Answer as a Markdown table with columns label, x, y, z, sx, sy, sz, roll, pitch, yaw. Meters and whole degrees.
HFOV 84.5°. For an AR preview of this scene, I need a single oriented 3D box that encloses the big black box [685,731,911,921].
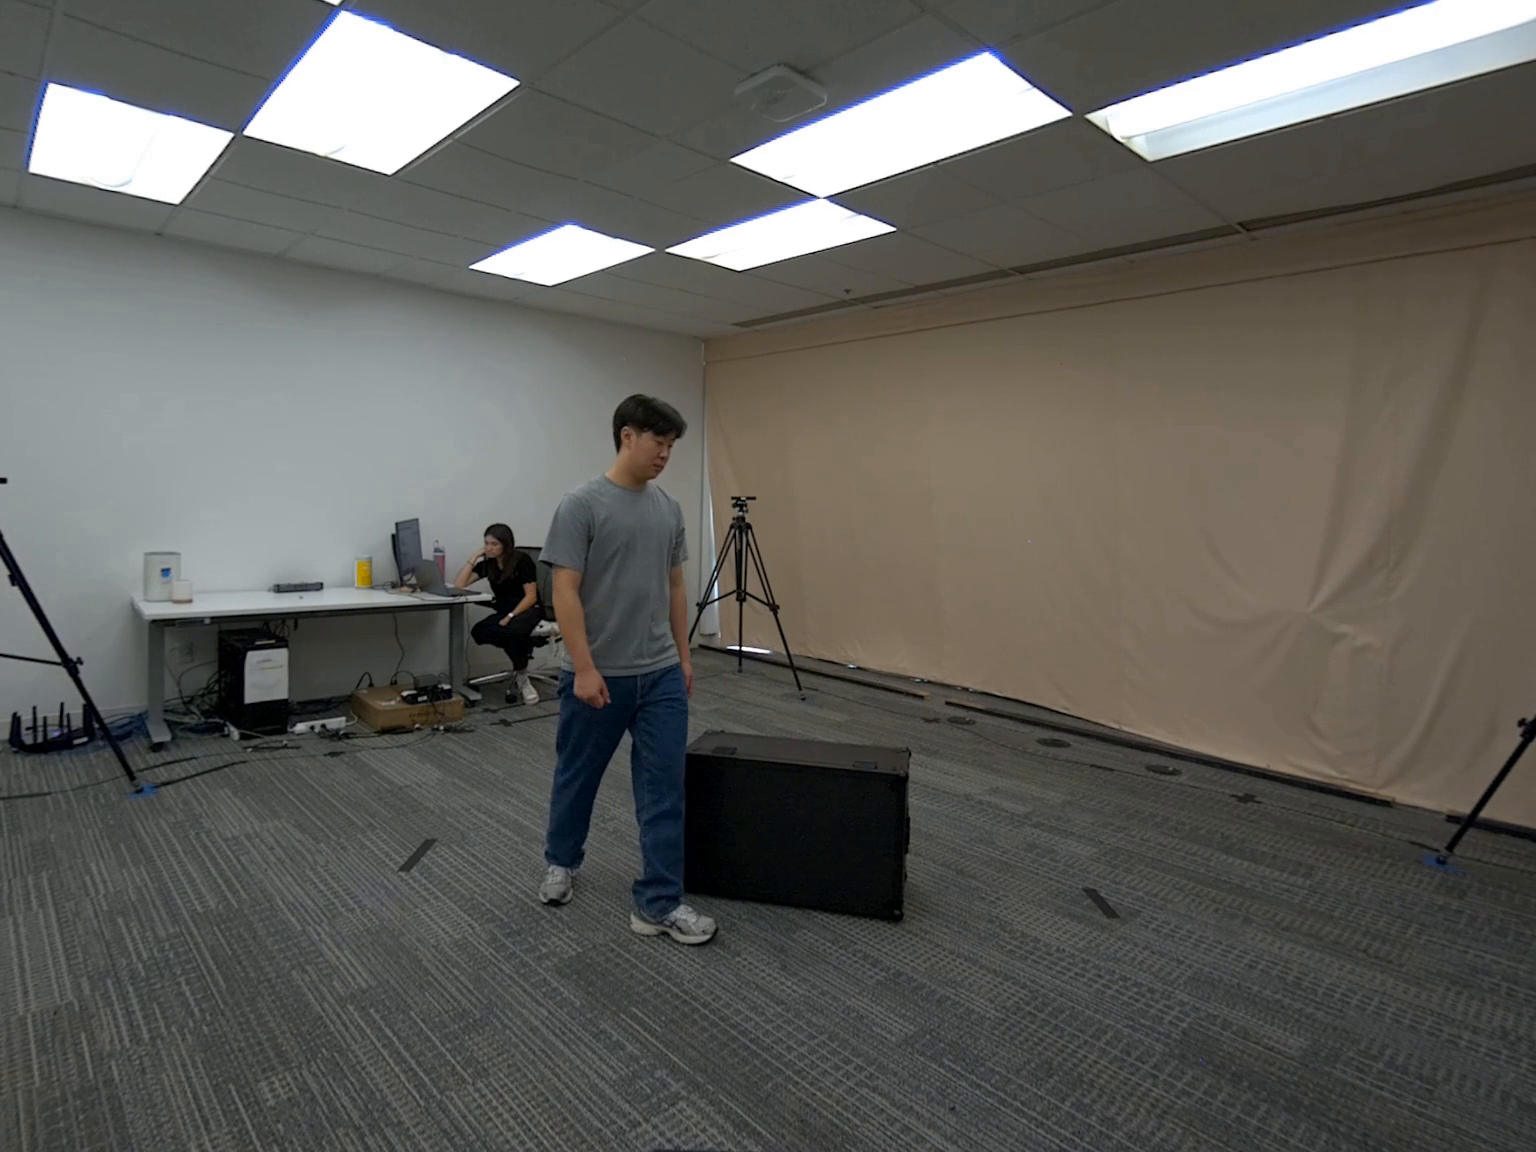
| label | x | y | z | sx | sy | sz | roll | pitch | yaw |
| --- | --- | --- | --- | --- | --- | --- | --- | --- | --- |
| big black box | 0.127 | 0.867 | 3.027 | 0.872 | 0.520 | 0.392 | 3 | 3 | 14 |
